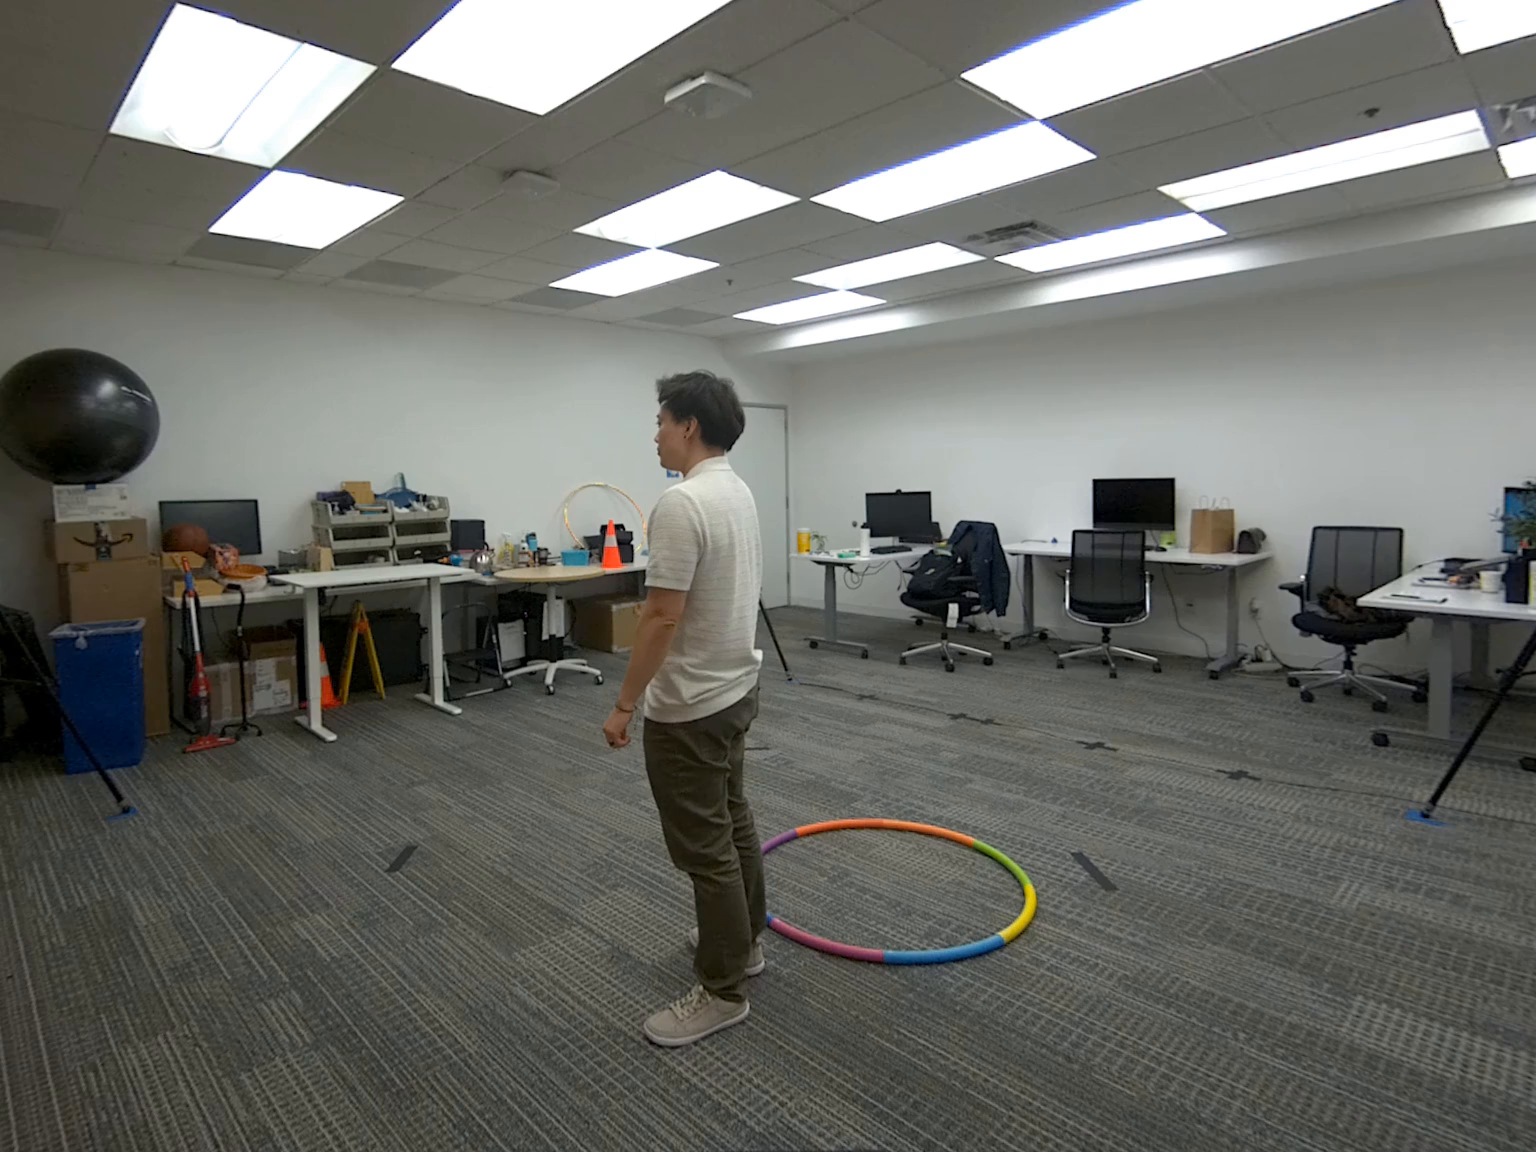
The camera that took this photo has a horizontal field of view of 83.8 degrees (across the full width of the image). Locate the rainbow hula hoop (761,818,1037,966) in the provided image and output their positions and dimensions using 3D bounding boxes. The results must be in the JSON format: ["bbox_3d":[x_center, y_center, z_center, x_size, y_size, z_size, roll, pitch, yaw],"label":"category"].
[{"bbox_3d":[0.393,1.026,2.928,0.978,0.035,0.984,-2,6,-2],"label":"rainbow hula hoop"}]
